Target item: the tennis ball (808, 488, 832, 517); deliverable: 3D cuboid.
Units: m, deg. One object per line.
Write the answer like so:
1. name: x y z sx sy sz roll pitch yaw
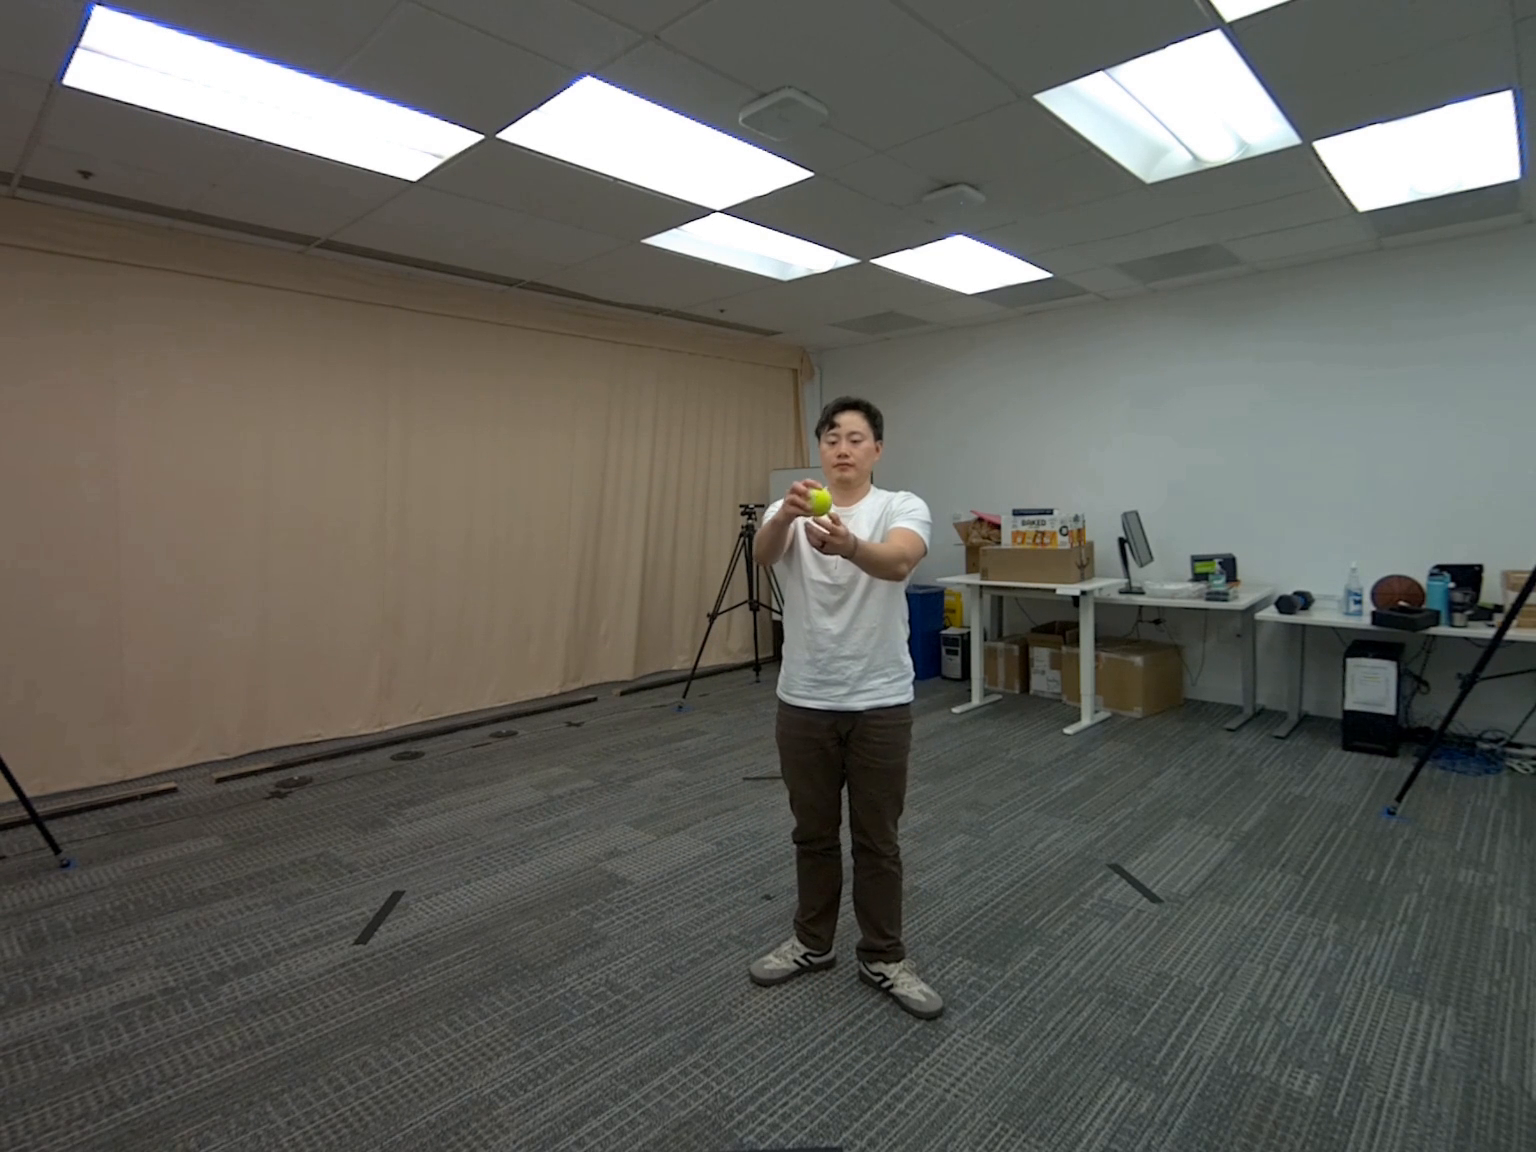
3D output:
1. tennis ball: 0.109 -0.168 1.888 0.066 0.066 0.067 -1 4 -2
